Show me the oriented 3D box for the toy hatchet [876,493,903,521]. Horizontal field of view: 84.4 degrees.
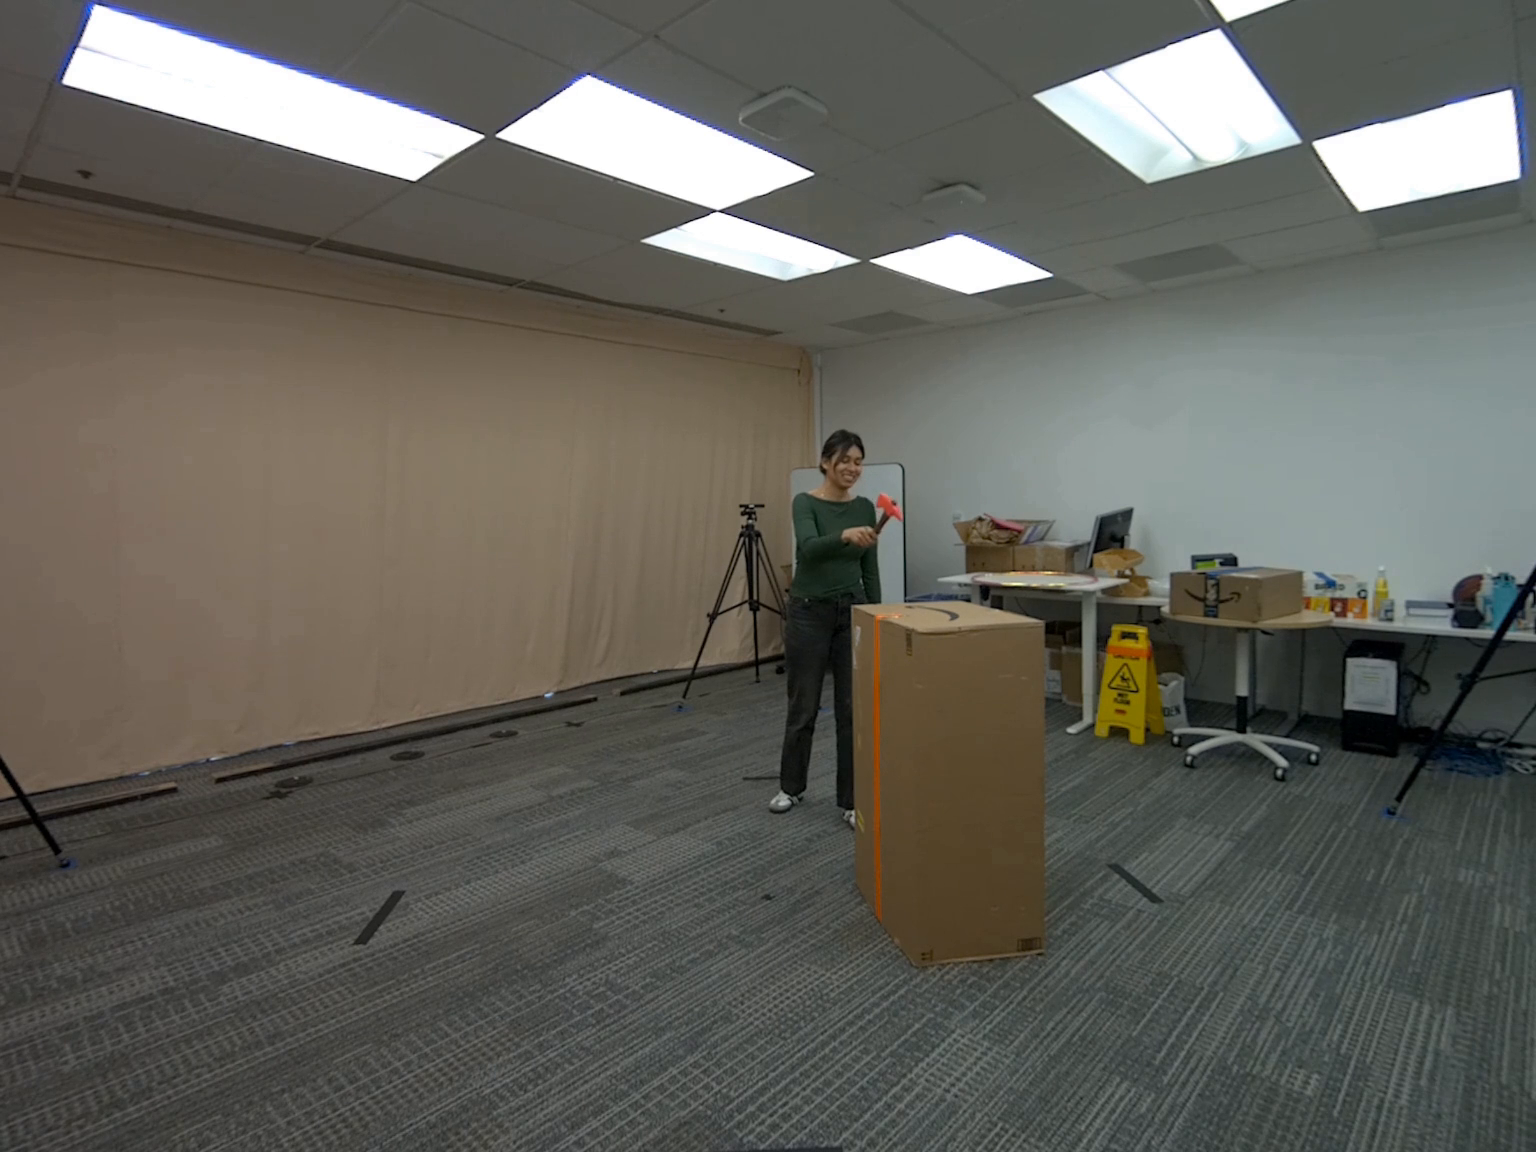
[{"bbox_3d":[0.382,-0.207,3.070,0.029,0.132,0.273,-12,-14,-33],"label":"toy hatchet"}]
